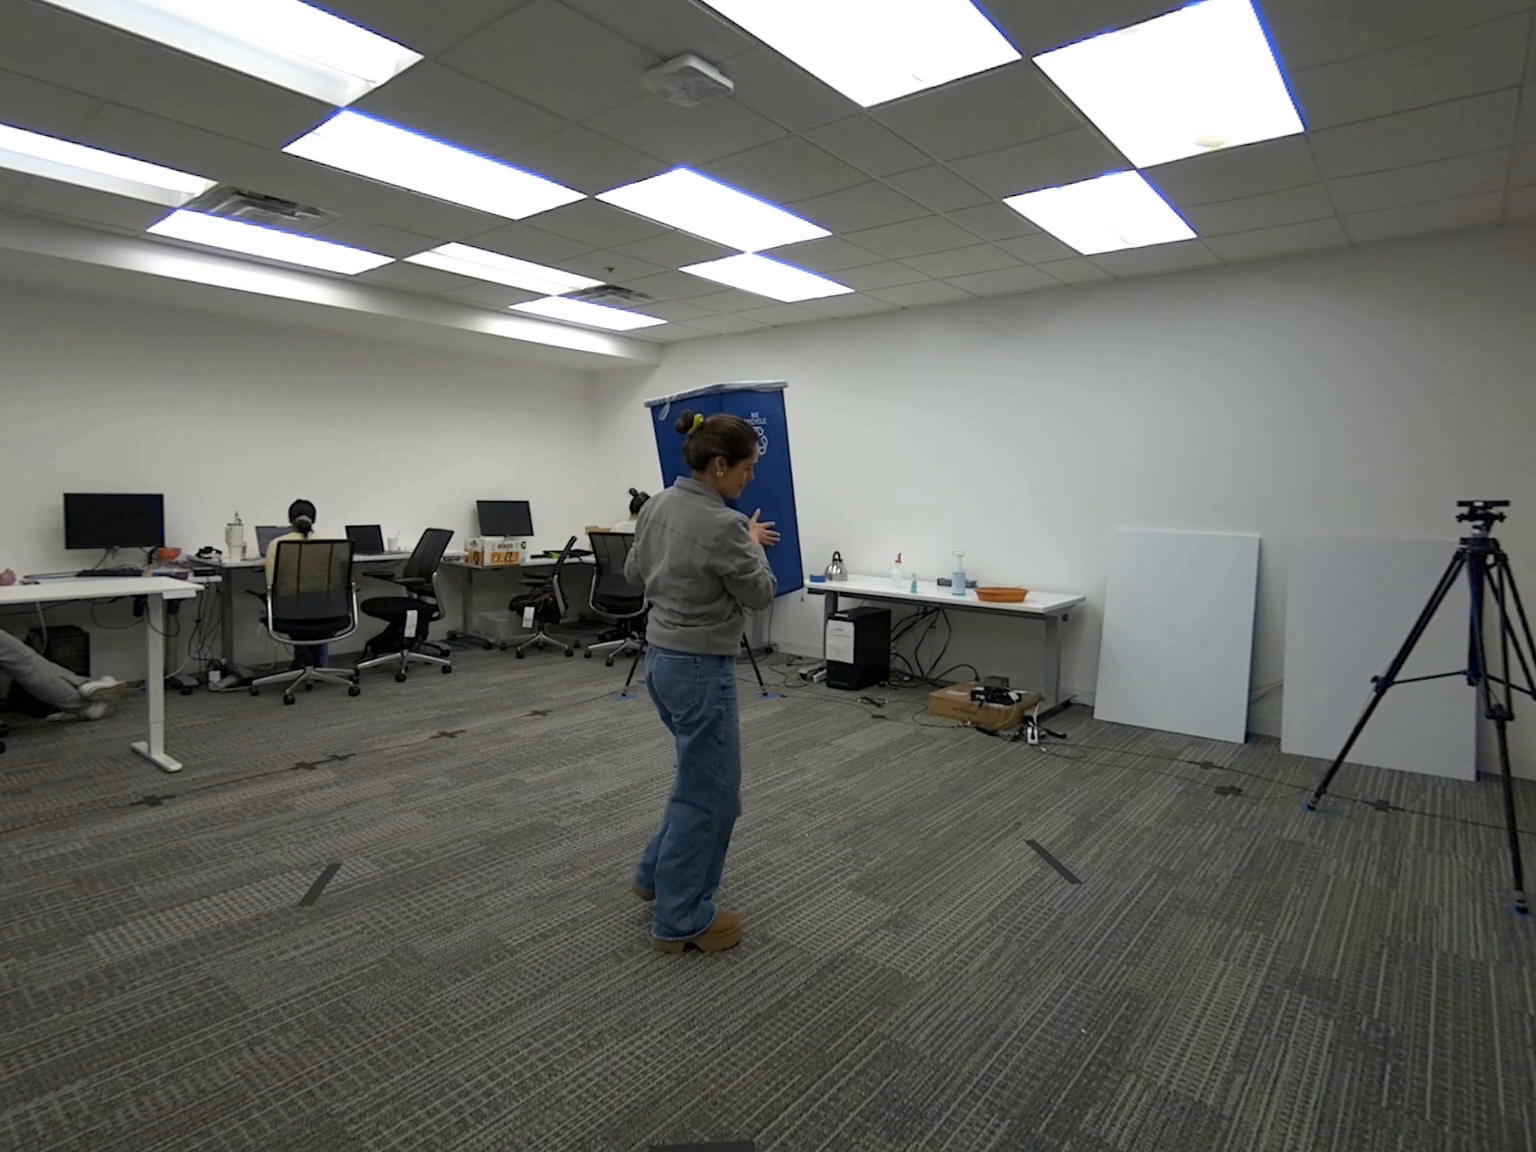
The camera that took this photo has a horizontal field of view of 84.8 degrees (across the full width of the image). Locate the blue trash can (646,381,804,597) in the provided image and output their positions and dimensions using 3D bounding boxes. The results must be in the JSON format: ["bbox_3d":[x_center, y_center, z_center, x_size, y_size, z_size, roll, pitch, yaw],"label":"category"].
[{"bbox_3d":[-0.141,-0.284,2.919,0.389,0.709,0.365,-3,8,42],"label":"blue trash can"}]
